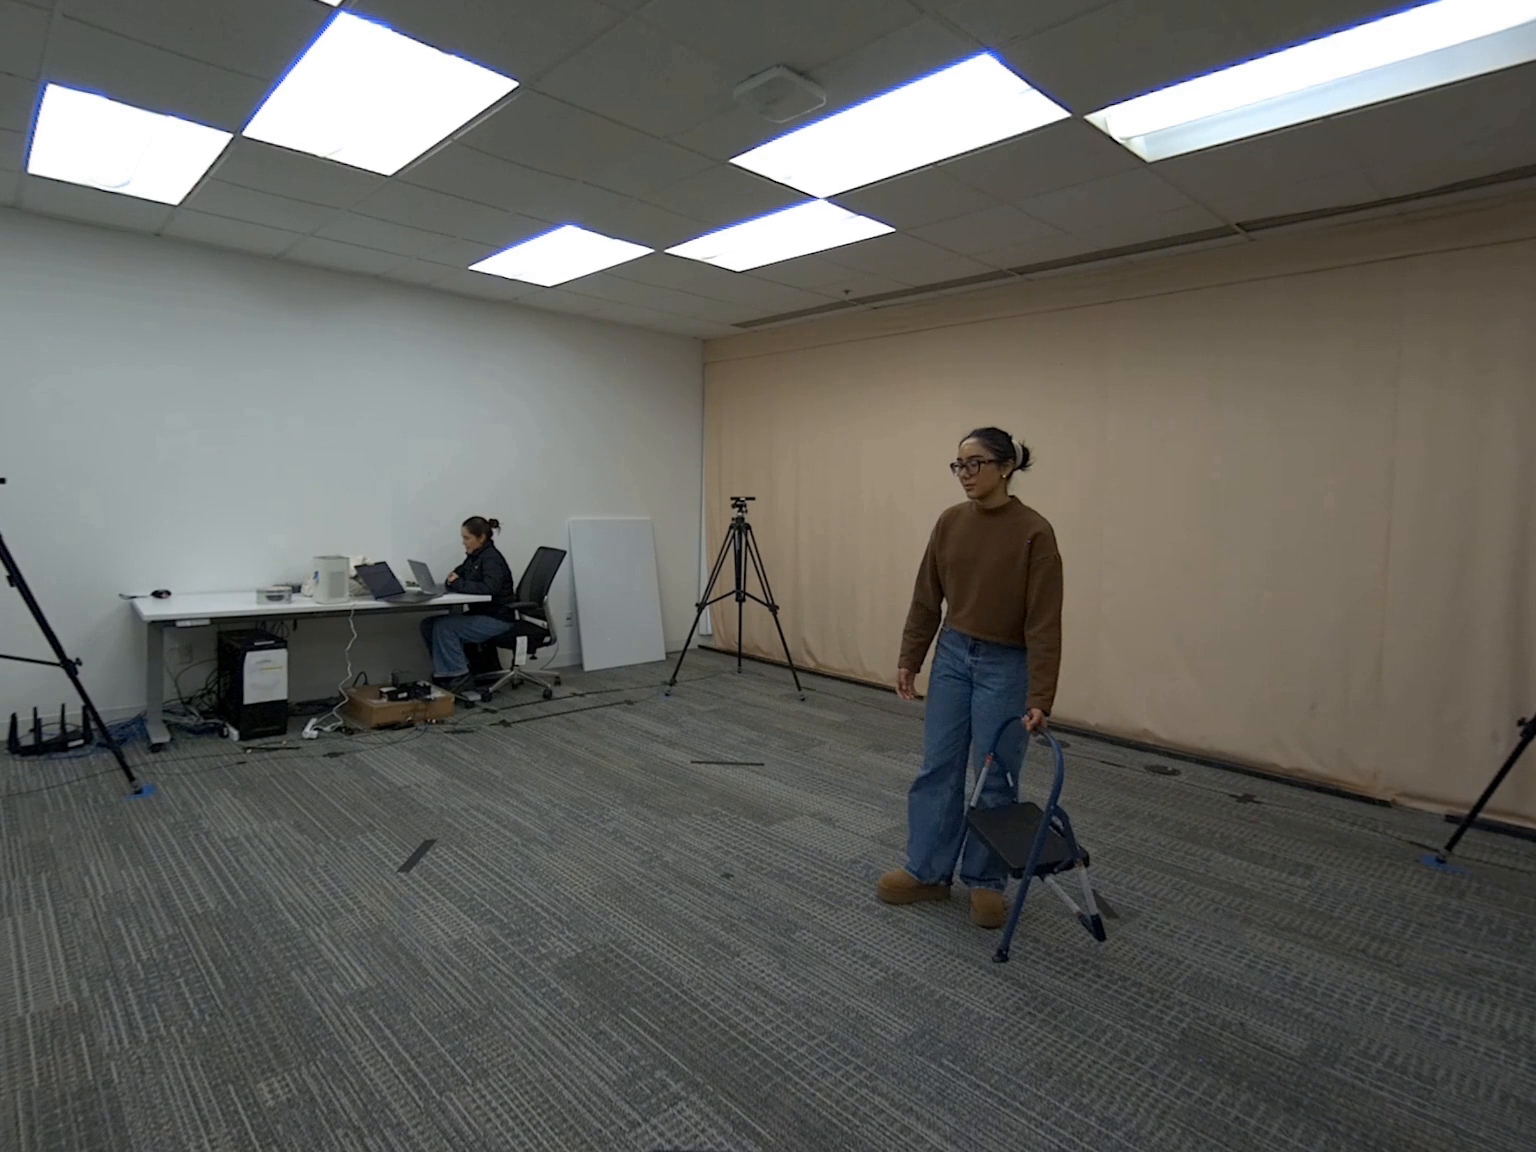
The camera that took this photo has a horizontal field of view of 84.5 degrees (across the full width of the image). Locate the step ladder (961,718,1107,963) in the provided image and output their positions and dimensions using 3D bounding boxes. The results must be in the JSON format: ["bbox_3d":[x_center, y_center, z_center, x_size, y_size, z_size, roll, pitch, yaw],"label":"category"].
[{"bbox_3d":[0.755,0.754,2.570,0.347,0.601,0.437,-7,10,-9],"label":"step ladder"}]
